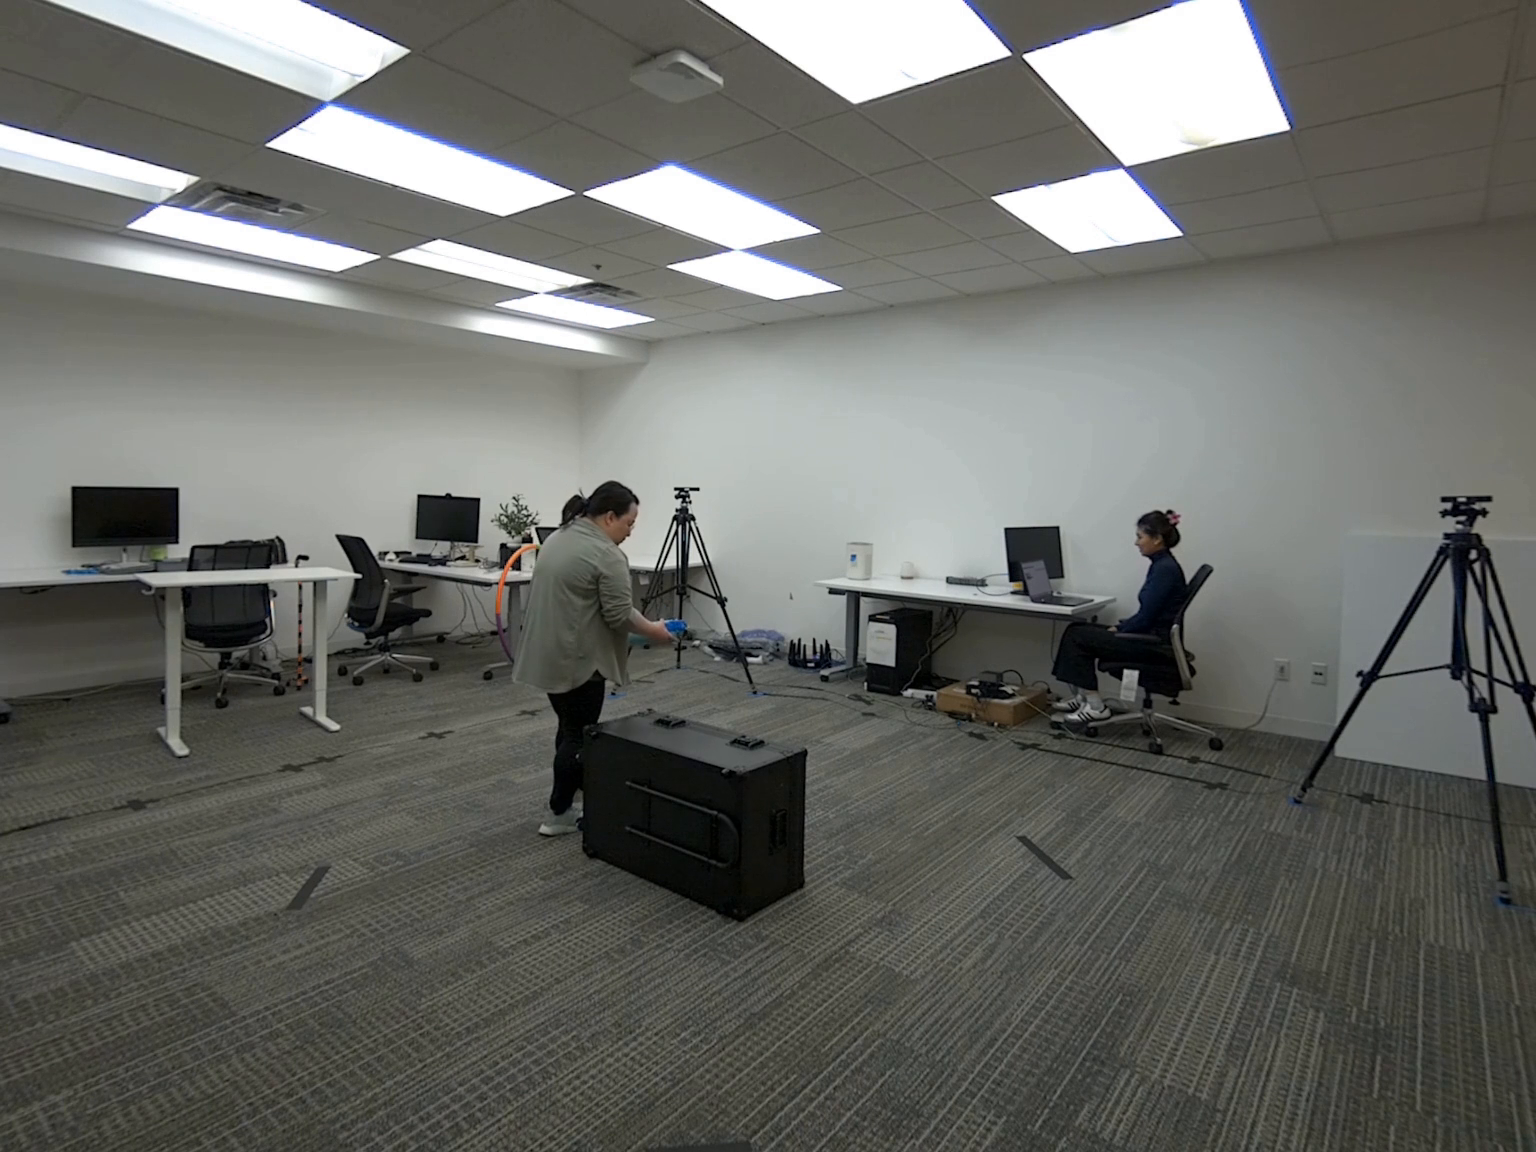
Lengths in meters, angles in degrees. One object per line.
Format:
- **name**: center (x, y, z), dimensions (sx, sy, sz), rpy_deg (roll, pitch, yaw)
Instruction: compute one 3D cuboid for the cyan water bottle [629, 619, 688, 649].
- **cyan water bottle**: center (-0.485, 0.244, 3.588), dimensions (0.282, 0.092, 0.093), rpy_deg (-6, 5, -4)
